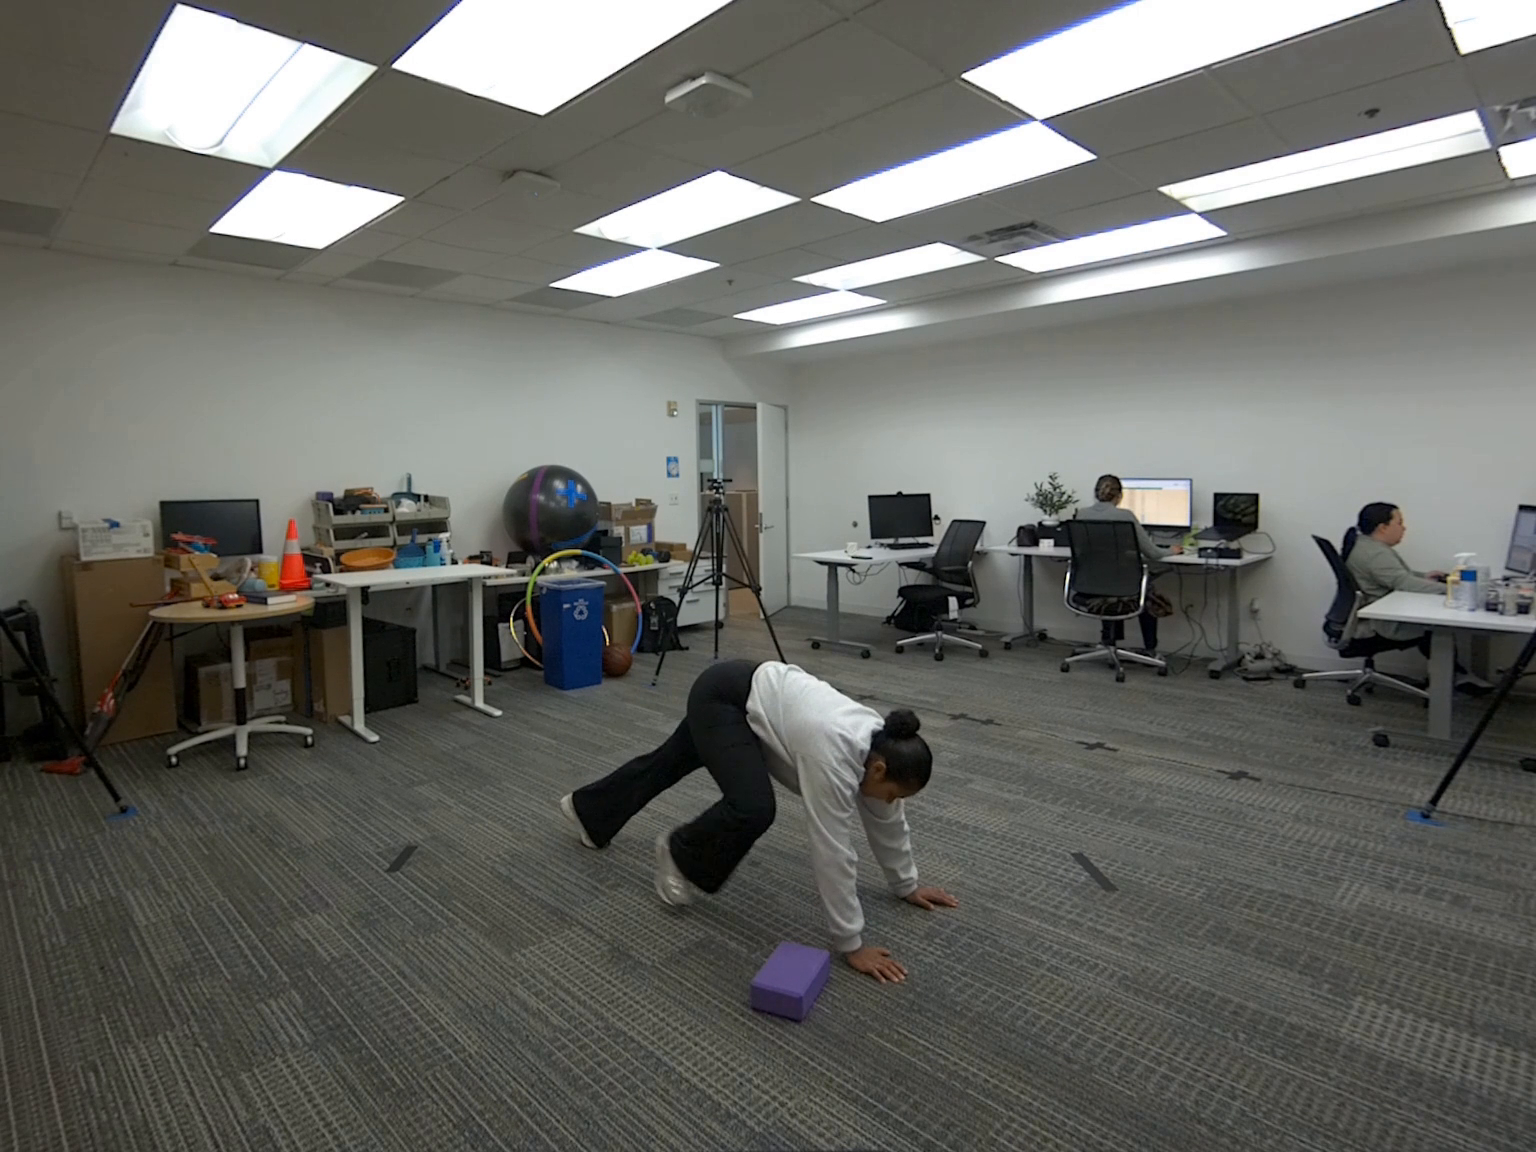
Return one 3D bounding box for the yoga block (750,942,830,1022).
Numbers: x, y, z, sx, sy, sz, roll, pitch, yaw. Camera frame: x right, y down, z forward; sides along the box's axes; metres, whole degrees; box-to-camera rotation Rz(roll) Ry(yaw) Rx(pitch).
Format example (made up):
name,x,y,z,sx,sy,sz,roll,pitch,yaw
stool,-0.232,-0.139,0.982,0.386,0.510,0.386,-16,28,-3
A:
name,x,y,z,sx,sy,sz,roll,pitch,yaw
yoga block,0.073,1.096,2.316,0.152,0.076,0.225,3,8,25
